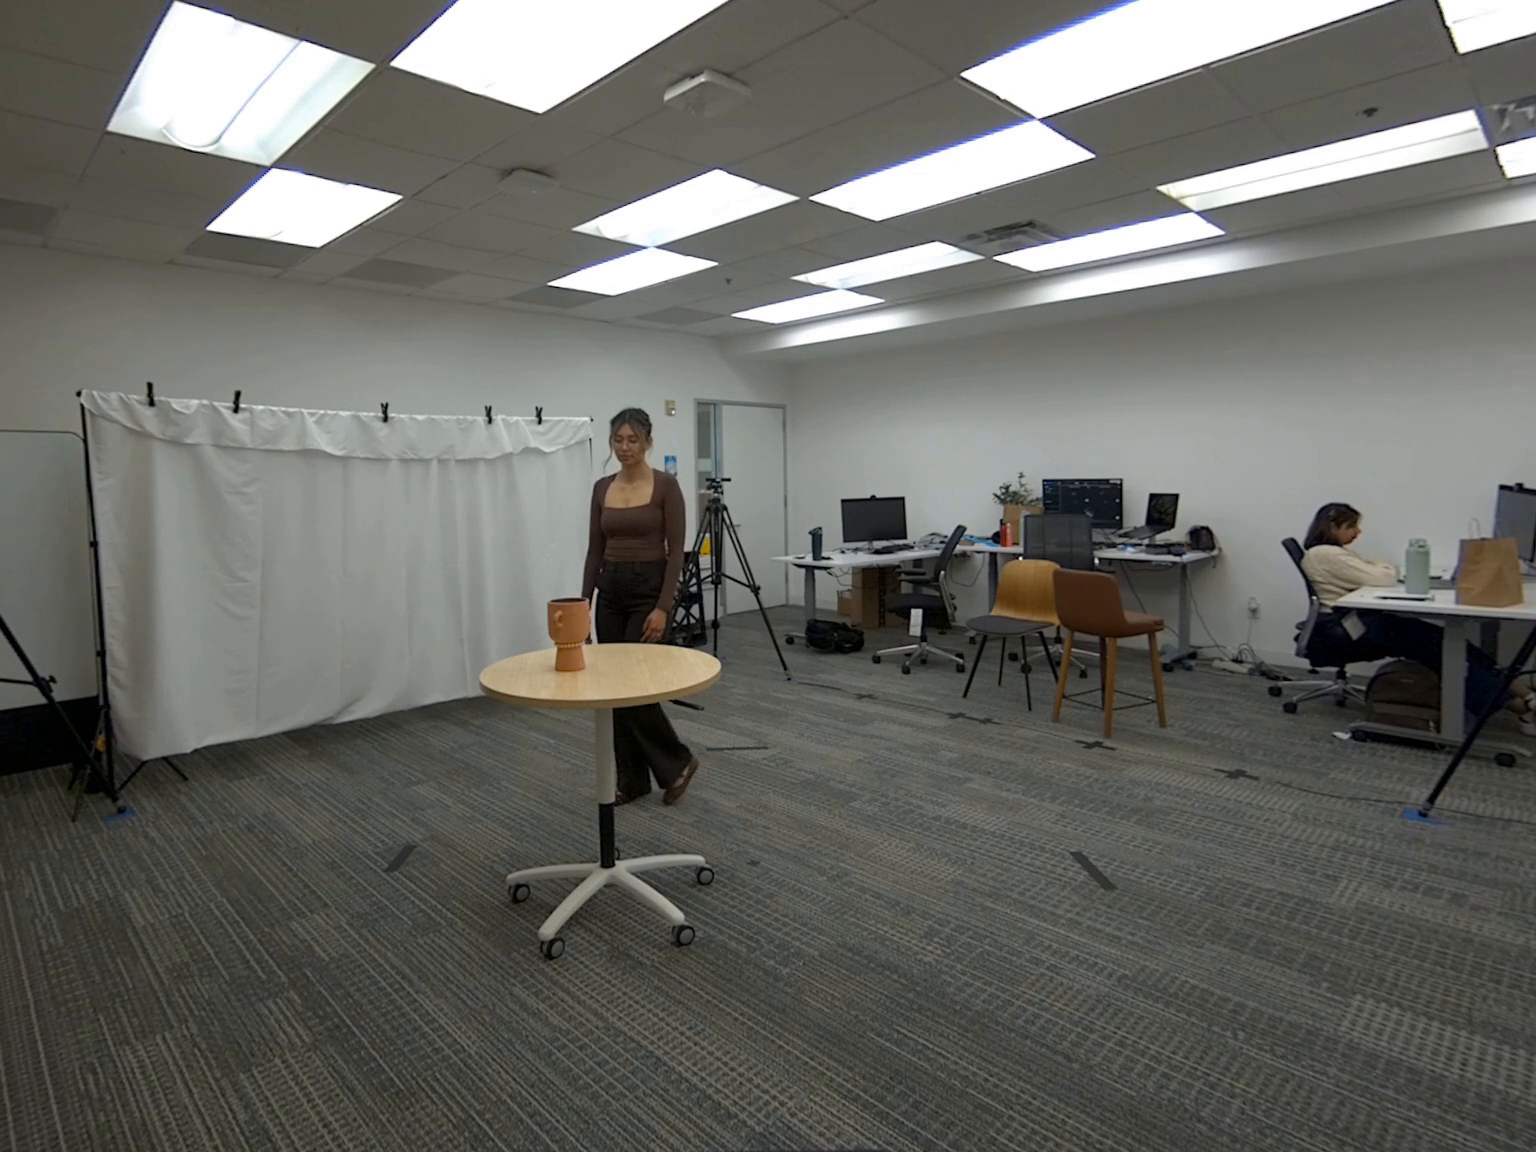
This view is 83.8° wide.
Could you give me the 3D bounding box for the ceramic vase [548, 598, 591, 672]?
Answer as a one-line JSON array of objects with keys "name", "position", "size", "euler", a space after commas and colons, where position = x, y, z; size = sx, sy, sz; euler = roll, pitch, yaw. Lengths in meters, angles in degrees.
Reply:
[{"name": "ceramic vase", "position": [-0.642, 0.191, 2.740], "size": [0.155, 0.219, 0.139], "euler": [-5, 6, -38]}]
